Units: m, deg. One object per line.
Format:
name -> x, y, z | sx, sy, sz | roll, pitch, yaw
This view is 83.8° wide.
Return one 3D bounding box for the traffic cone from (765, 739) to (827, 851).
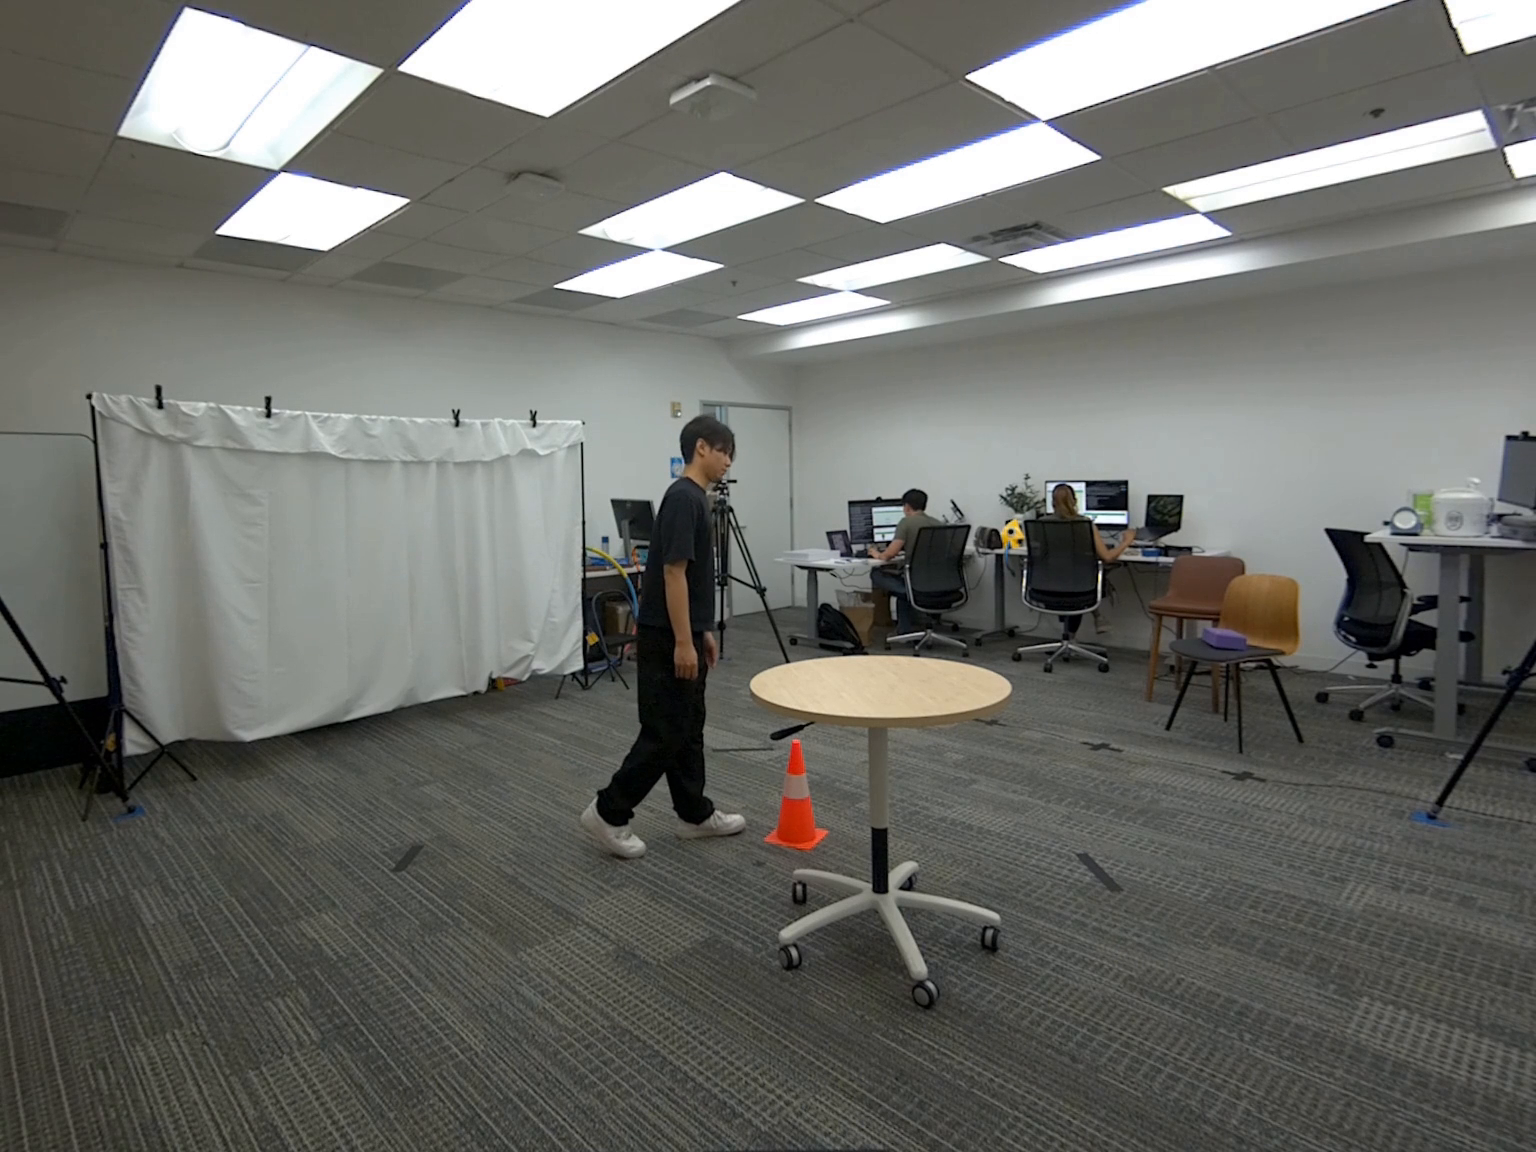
traffic cone -> 0.109, 0.833, 3.327 | 0.210, 0.382, 0.199 | 2, 6, 29
